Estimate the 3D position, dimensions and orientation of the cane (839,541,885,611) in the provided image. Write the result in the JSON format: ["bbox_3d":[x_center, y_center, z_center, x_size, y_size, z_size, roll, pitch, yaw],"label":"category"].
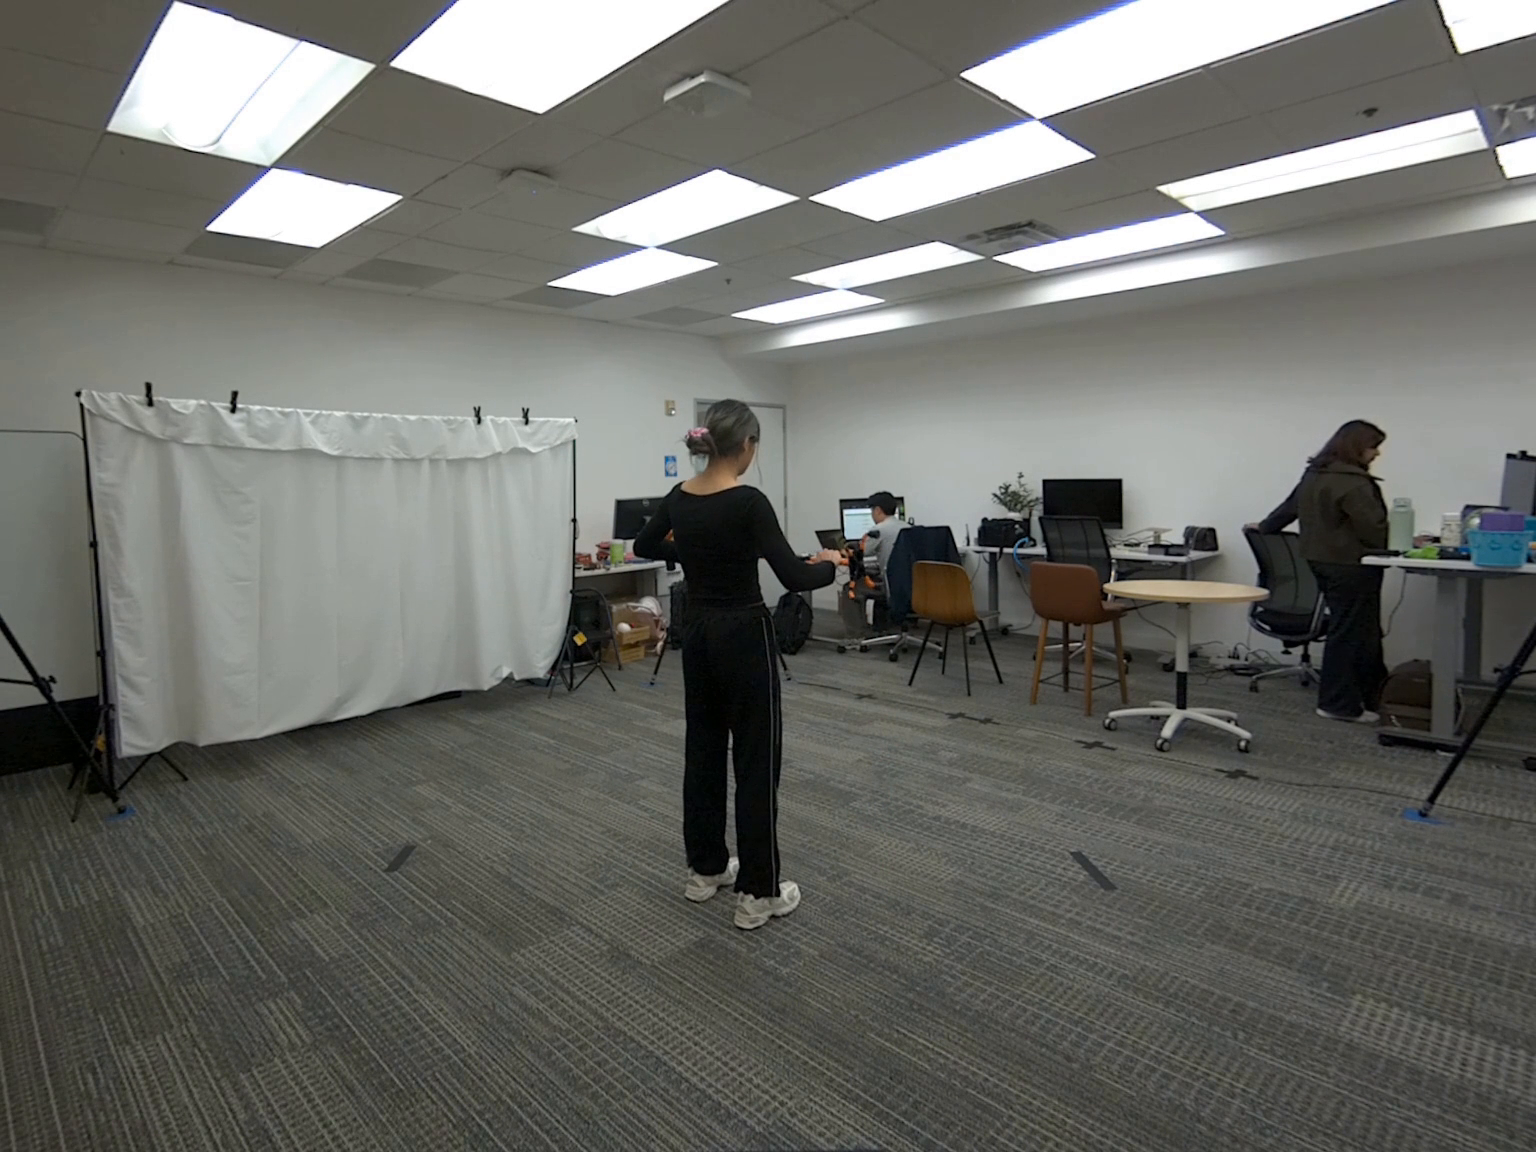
[{"bbox_3d":[-0.037,-0.072,2.967,0.936,0.204,0.149,6,16,40],"label":"cane"}]
